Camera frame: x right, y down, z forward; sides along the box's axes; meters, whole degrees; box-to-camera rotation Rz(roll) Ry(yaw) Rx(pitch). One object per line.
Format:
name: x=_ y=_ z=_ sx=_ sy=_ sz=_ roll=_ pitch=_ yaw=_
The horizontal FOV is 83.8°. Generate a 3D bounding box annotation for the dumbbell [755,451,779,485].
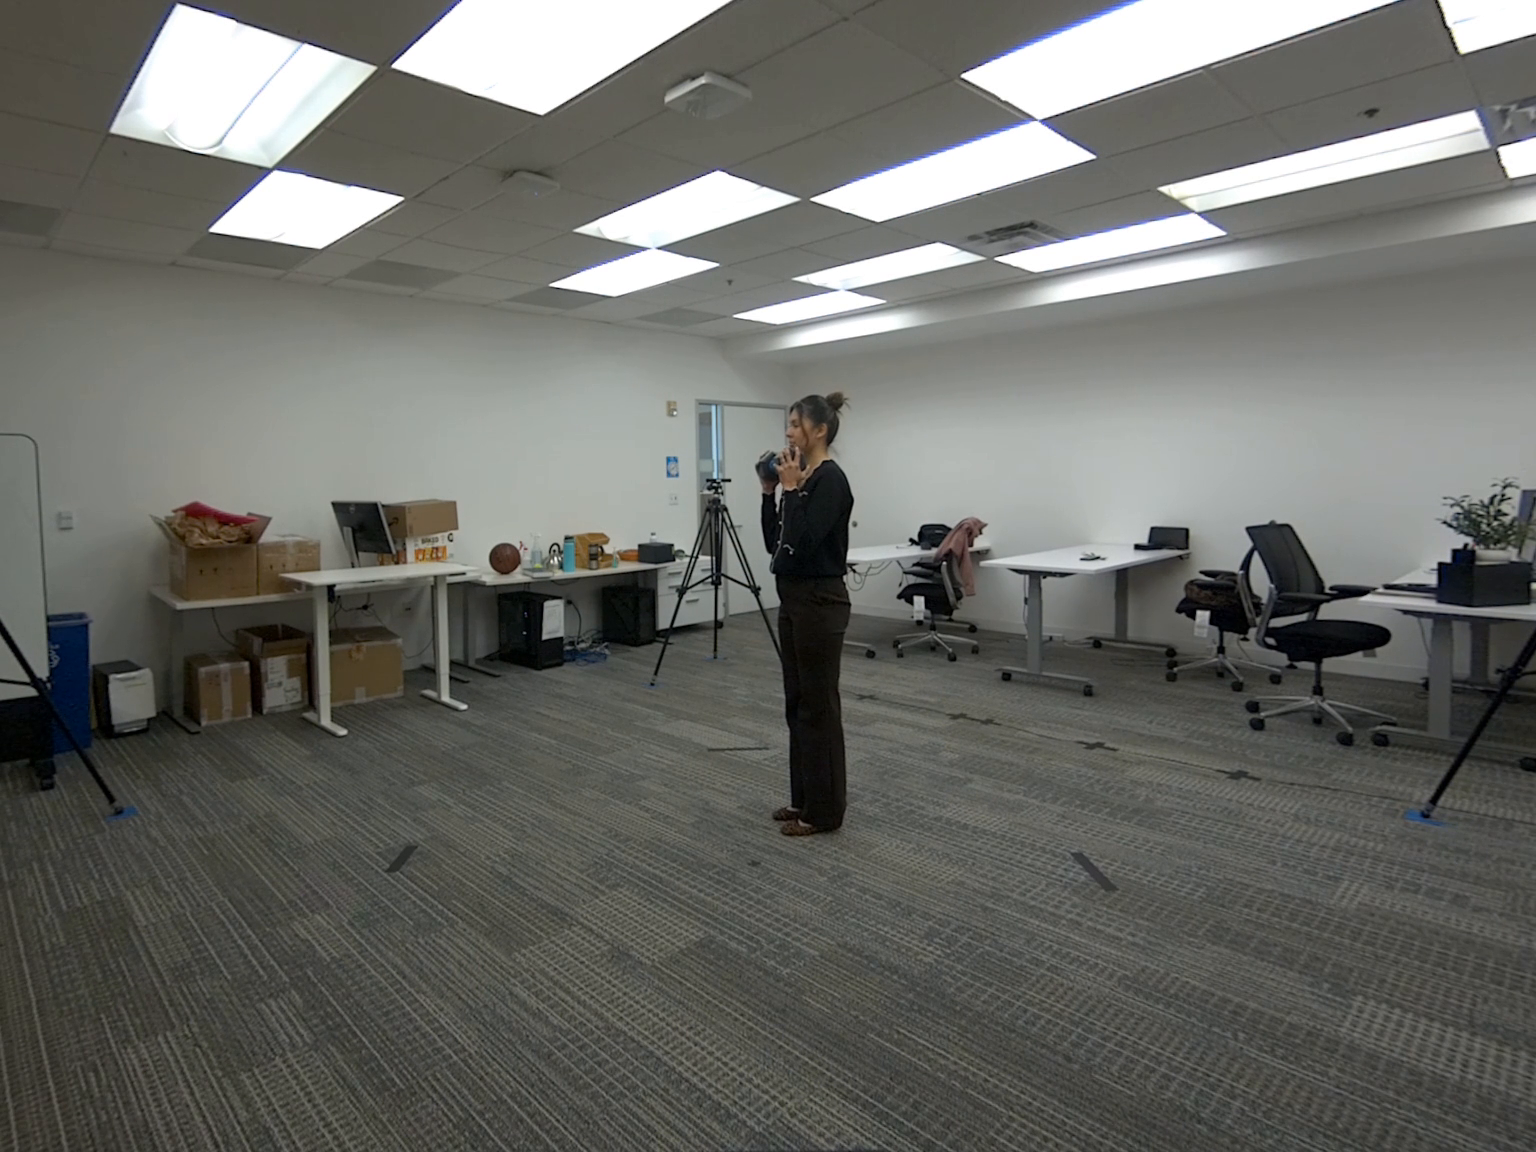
dumbbell: x=0.068 y=-0.436 z=3.389 sx=0.108 sy=0.122 sz=0.298 roll=-22 pitch=9 yaw=-15
